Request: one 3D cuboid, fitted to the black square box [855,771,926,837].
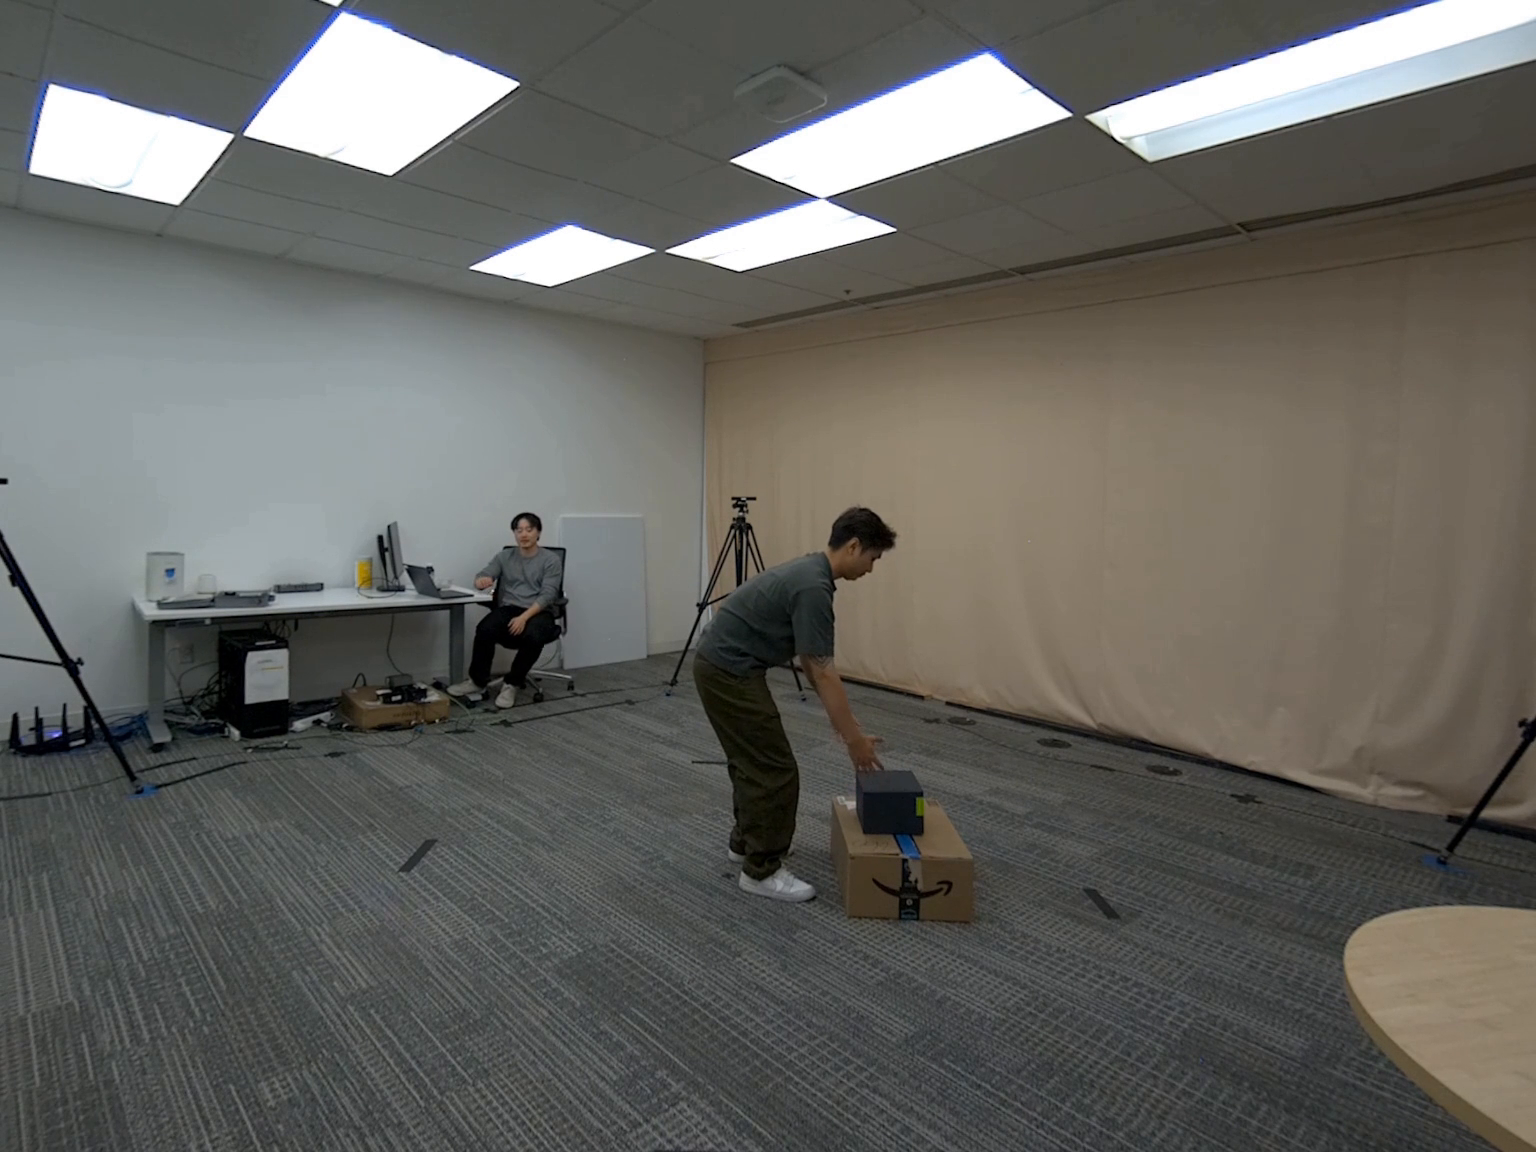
[{"bbox_3d":[0.440,0.824,3.080,0.217,0.155,0.228,0,4,1],"label":"black square box"}]
